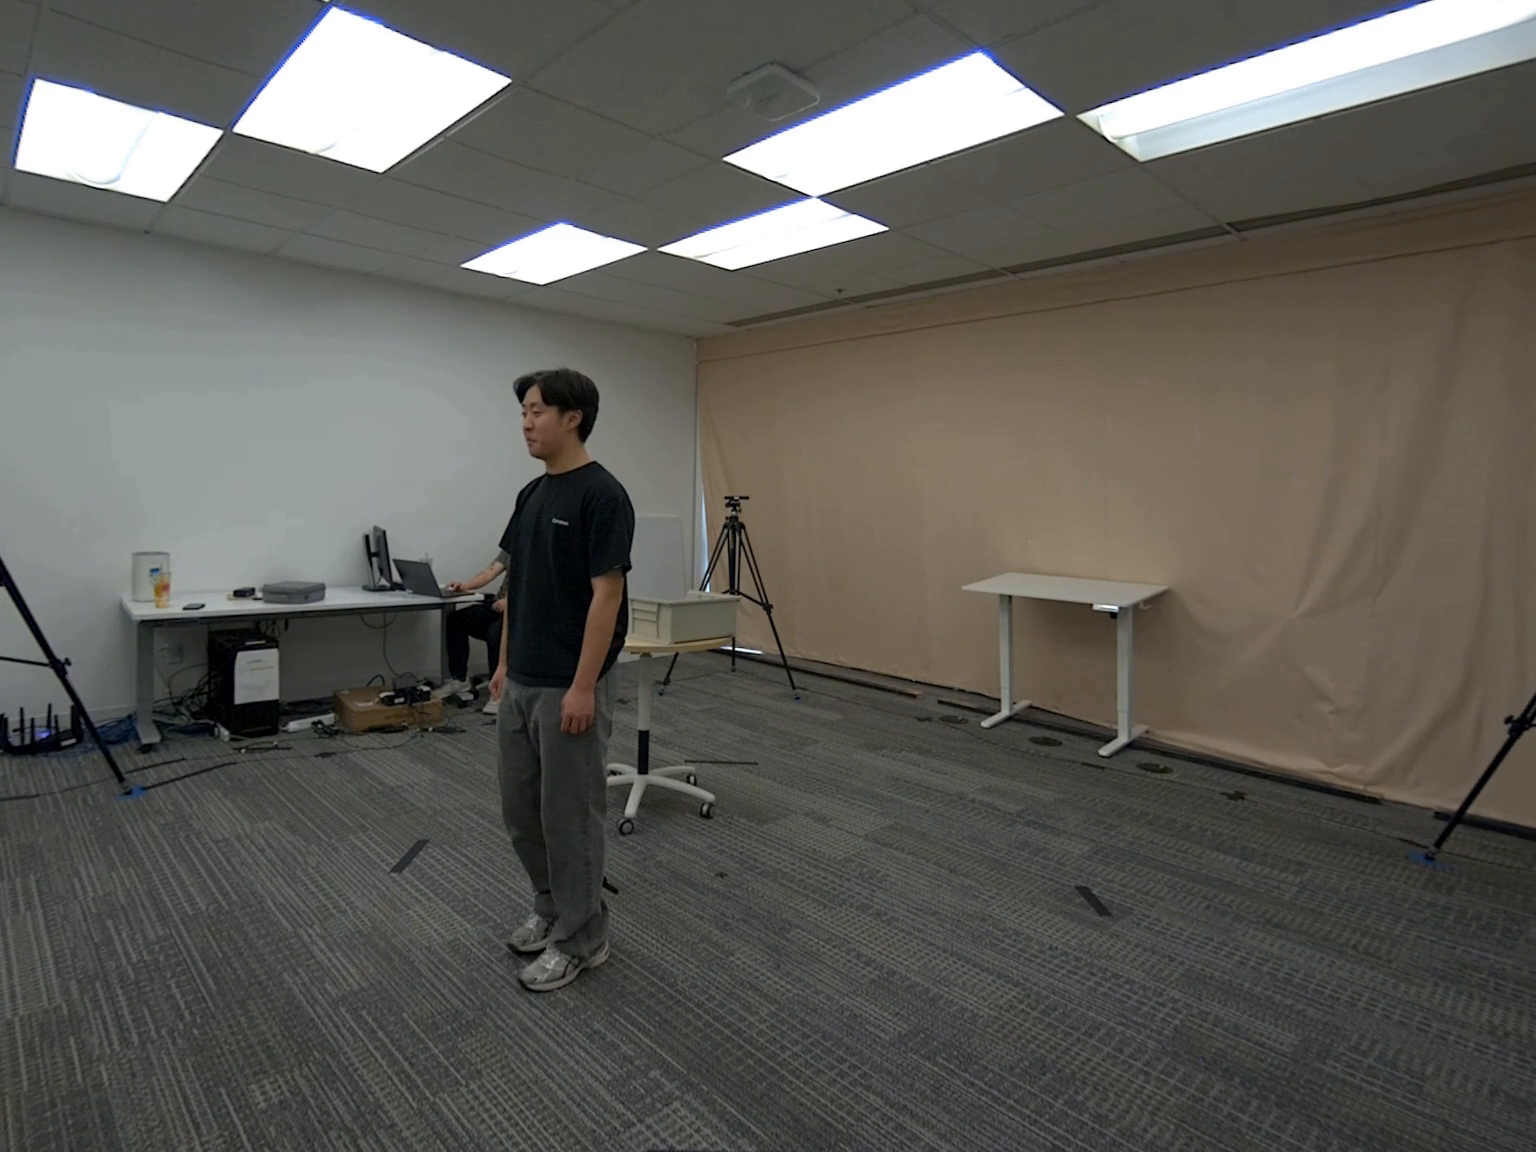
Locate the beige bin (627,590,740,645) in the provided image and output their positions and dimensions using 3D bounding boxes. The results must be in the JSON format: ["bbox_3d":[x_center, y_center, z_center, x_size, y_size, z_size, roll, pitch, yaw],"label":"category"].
[{"bbox_3d":[-0.396,0.175,3.695,0.387,0.188,0.412,7,6,44],"label":"beige bin"}]
